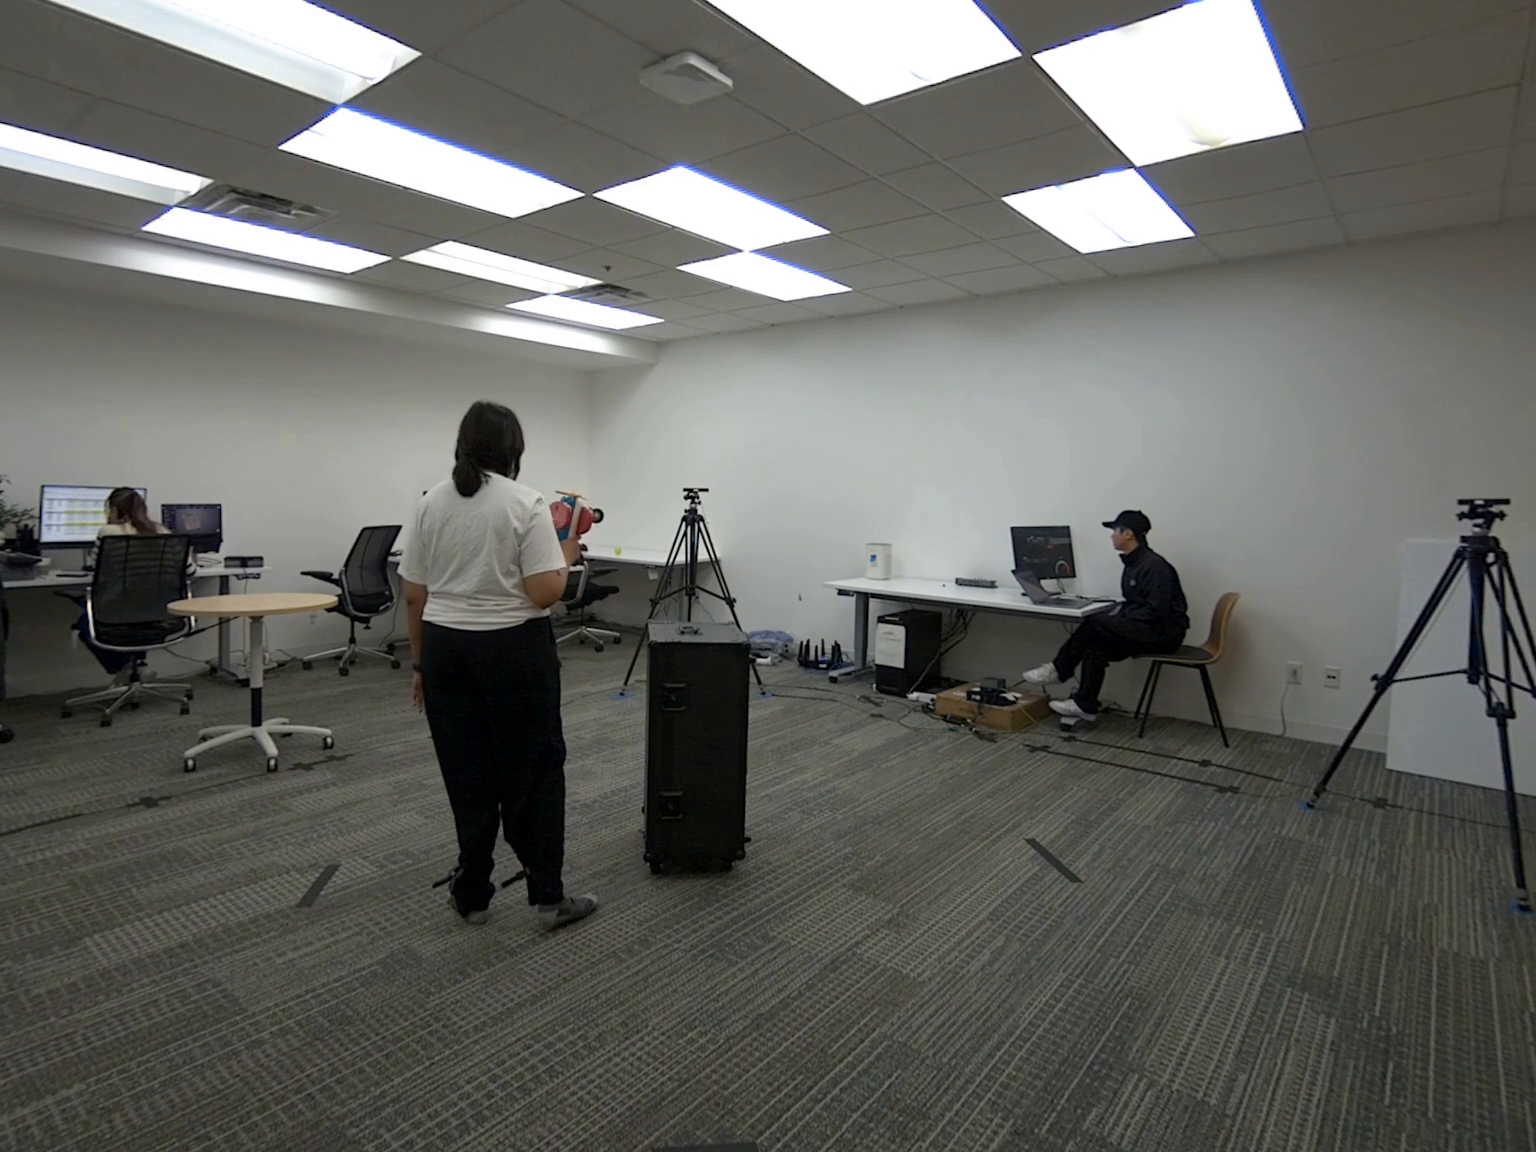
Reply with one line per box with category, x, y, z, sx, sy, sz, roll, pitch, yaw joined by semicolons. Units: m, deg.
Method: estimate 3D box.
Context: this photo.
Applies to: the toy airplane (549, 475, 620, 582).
toy airplane;-0.681;-0.162;2.941;0.151;0.264;0.254;31;-38;-27
